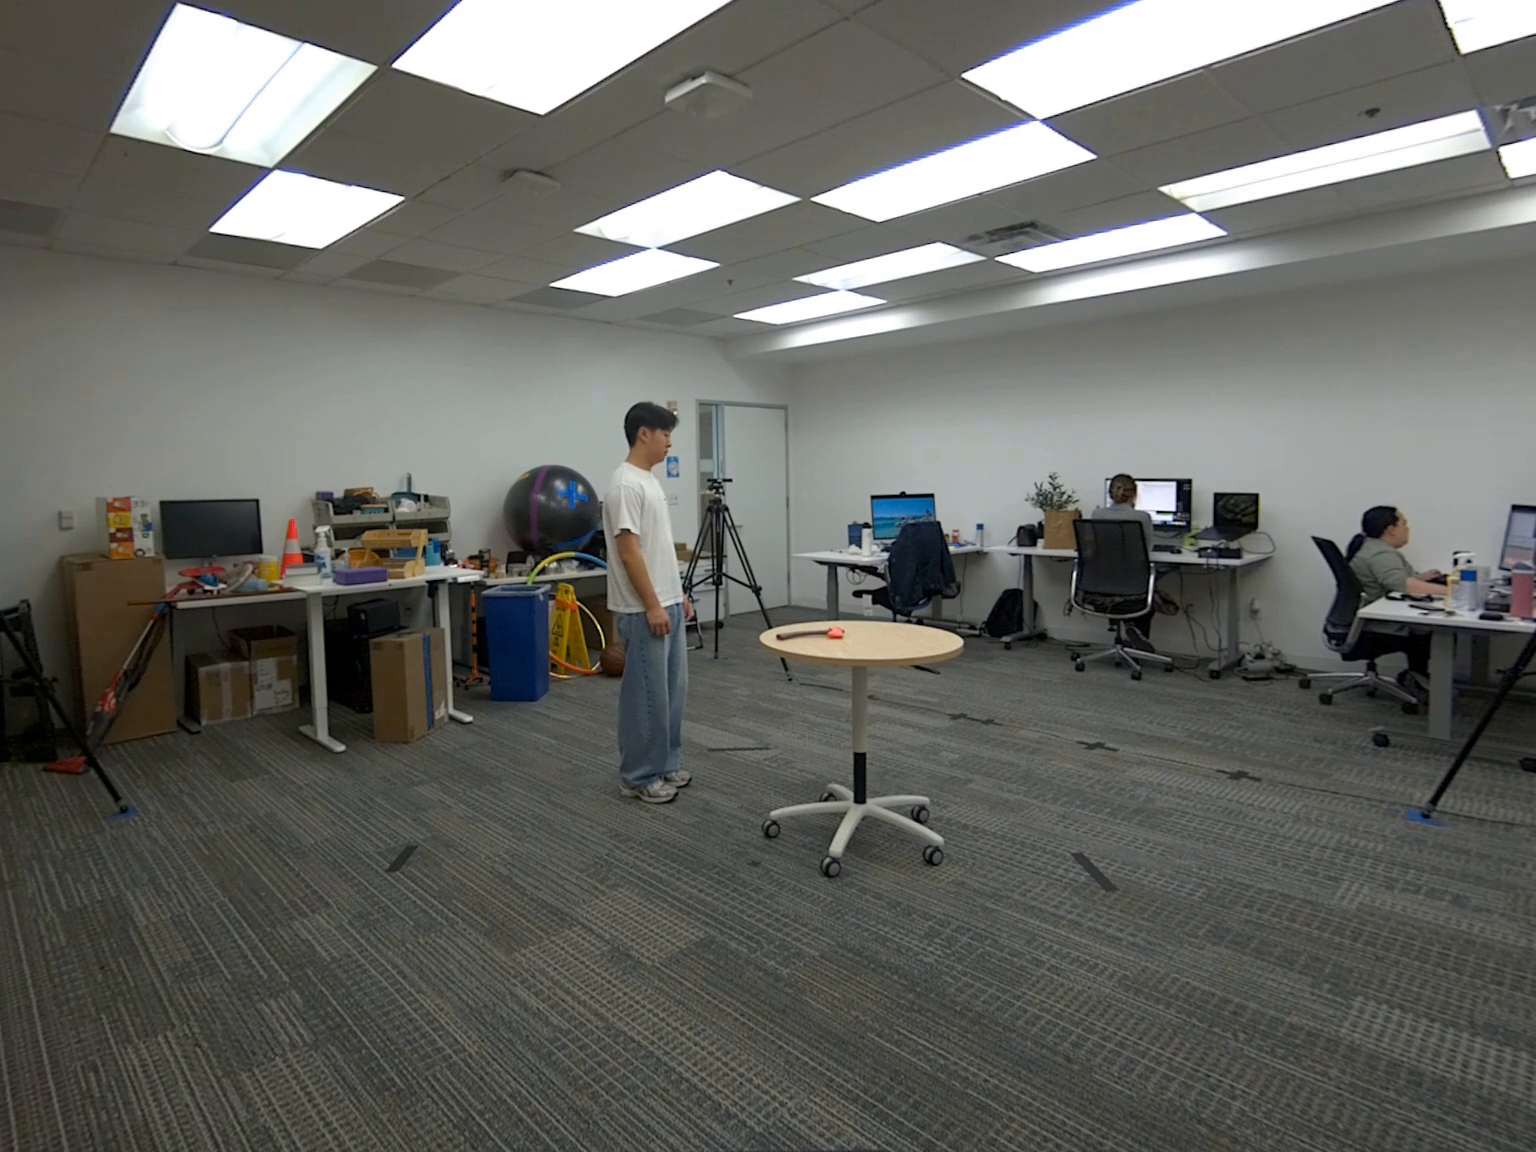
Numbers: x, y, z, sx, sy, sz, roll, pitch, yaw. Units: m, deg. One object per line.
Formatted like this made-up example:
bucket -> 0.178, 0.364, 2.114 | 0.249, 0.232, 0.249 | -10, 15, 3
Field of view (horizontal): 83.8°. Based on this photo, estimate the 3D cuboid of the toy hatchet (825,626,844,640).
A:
toy hatchet -> 0.184, 0.229, 3.265 | 0.264, 0.029, 0.135 | -6, 12, -28
